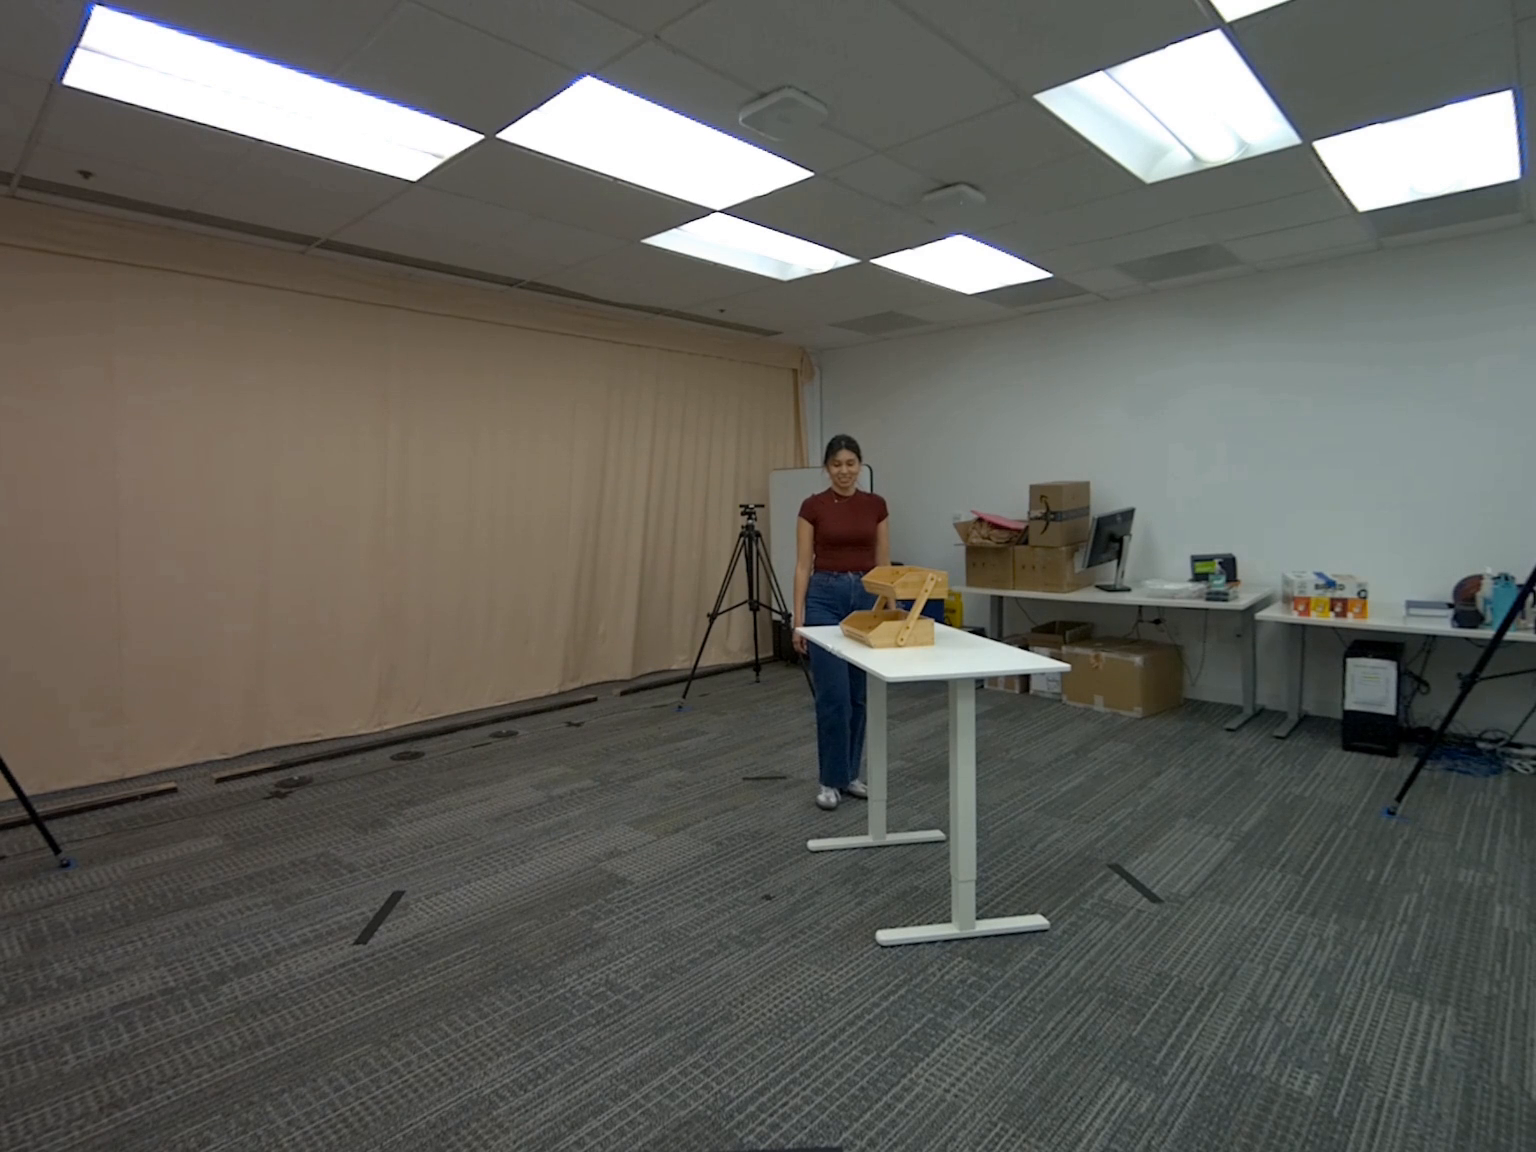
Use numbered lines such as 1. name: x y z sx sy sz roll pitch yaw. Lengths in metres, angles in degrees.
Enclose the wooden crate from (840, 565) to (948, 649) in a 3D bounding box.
1. wooden crate: 0.450 0.105 3.117 0.298 0.272 0.330 -1 4 -14
